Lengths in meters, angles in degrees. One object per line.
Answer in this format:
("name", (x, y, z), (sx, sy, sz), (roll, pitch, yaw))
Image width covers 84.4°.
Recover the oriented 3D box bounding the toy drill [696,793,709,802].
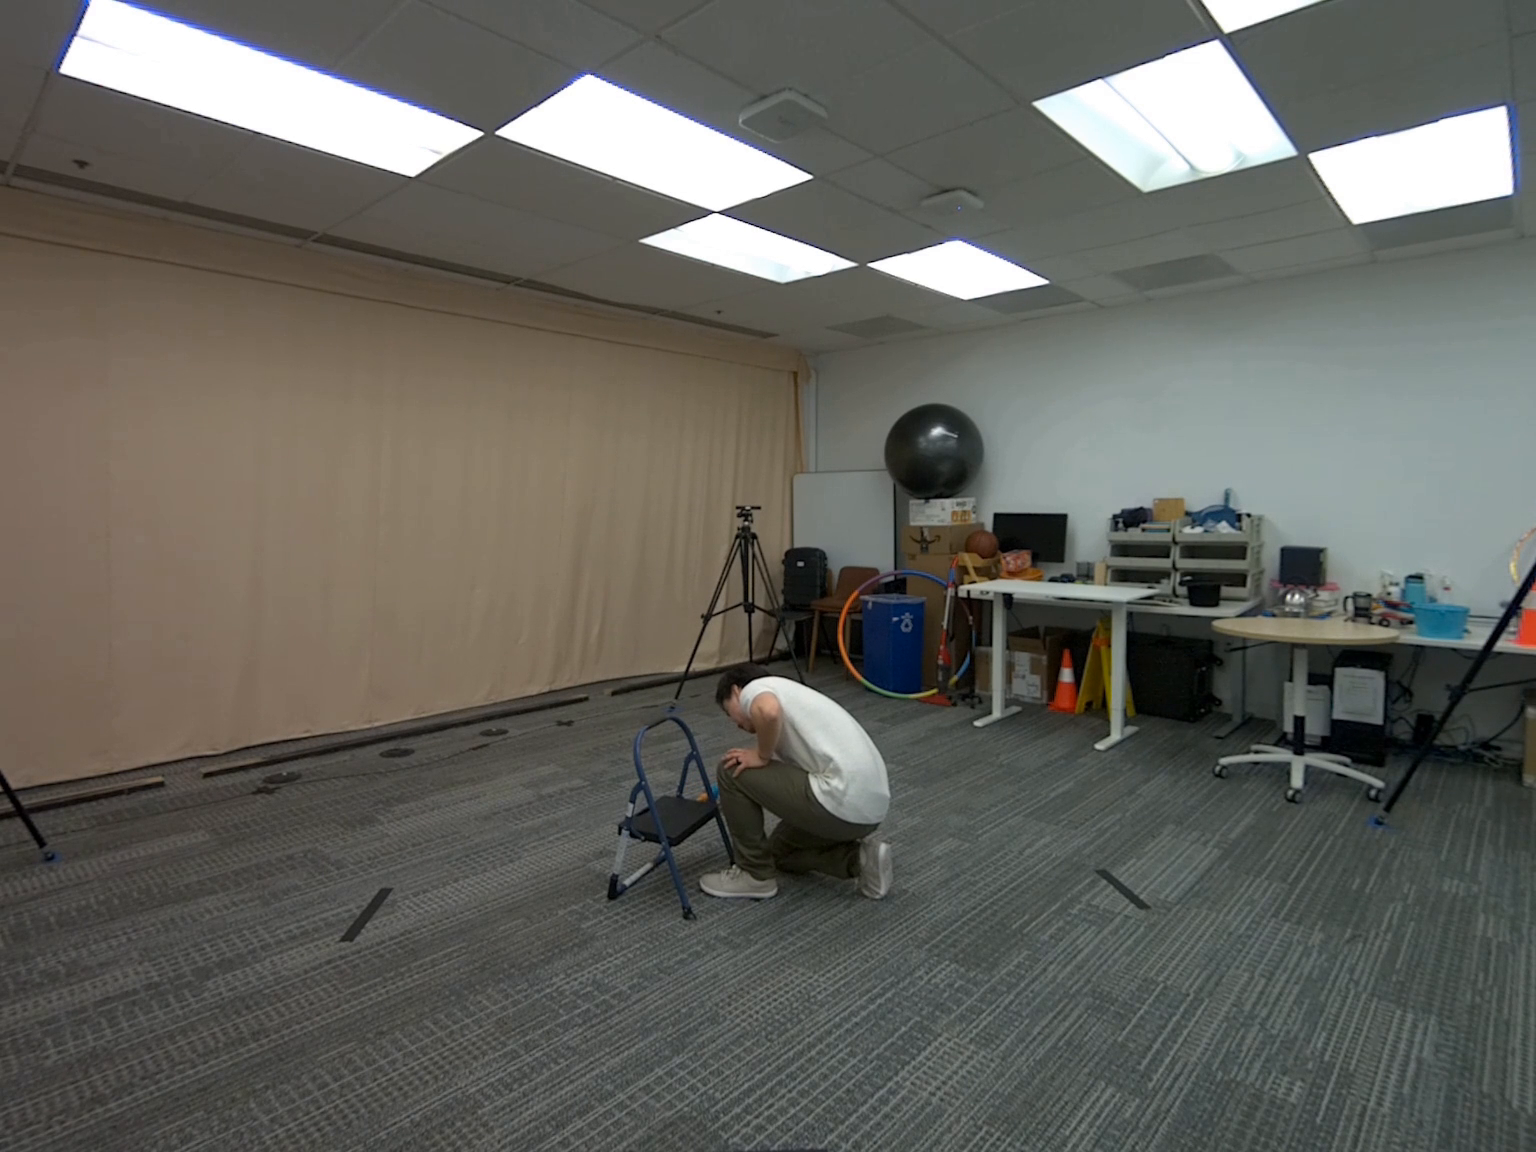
("toy drill", (-0.200, 0.906, 3.359), (0.151, 0.061, 0.165), (34, 19, 30))
